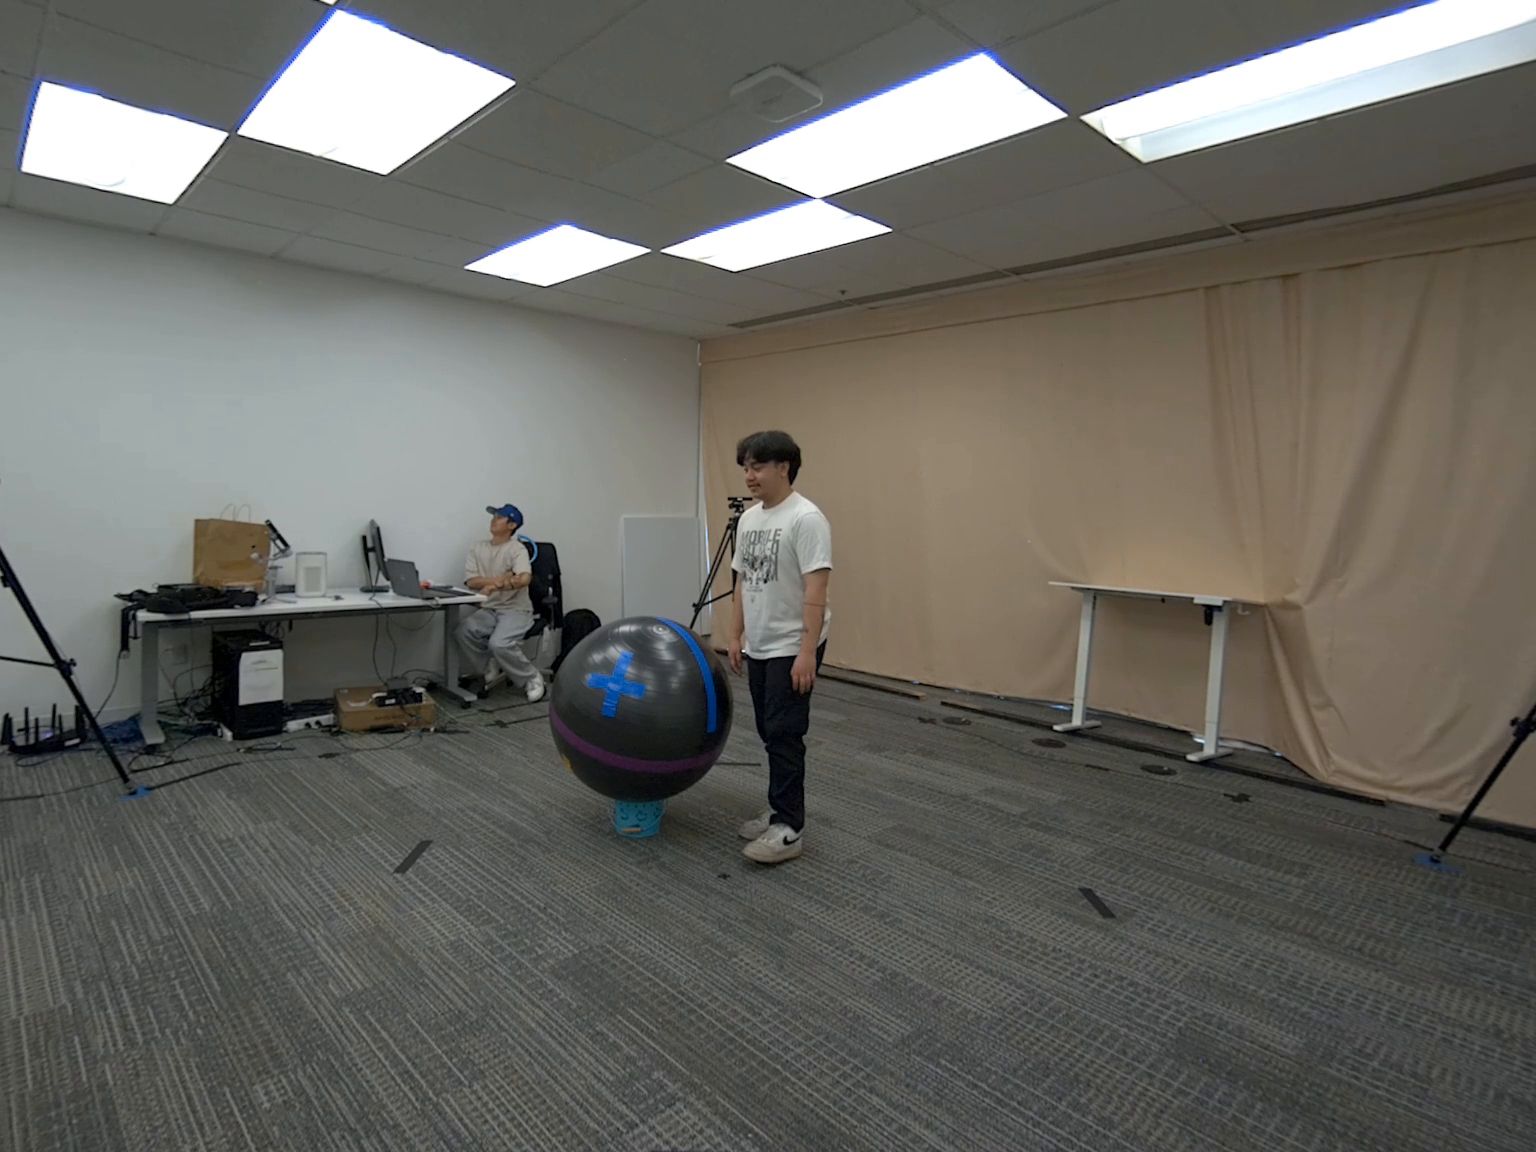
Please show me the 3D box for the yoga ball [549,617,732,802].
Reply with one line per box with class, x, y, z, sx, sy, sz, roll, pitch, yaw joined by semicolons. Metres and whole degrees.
yoga ball;-0.531;0.549;3.511;0.757;0.756;0.761;1;4;-1
